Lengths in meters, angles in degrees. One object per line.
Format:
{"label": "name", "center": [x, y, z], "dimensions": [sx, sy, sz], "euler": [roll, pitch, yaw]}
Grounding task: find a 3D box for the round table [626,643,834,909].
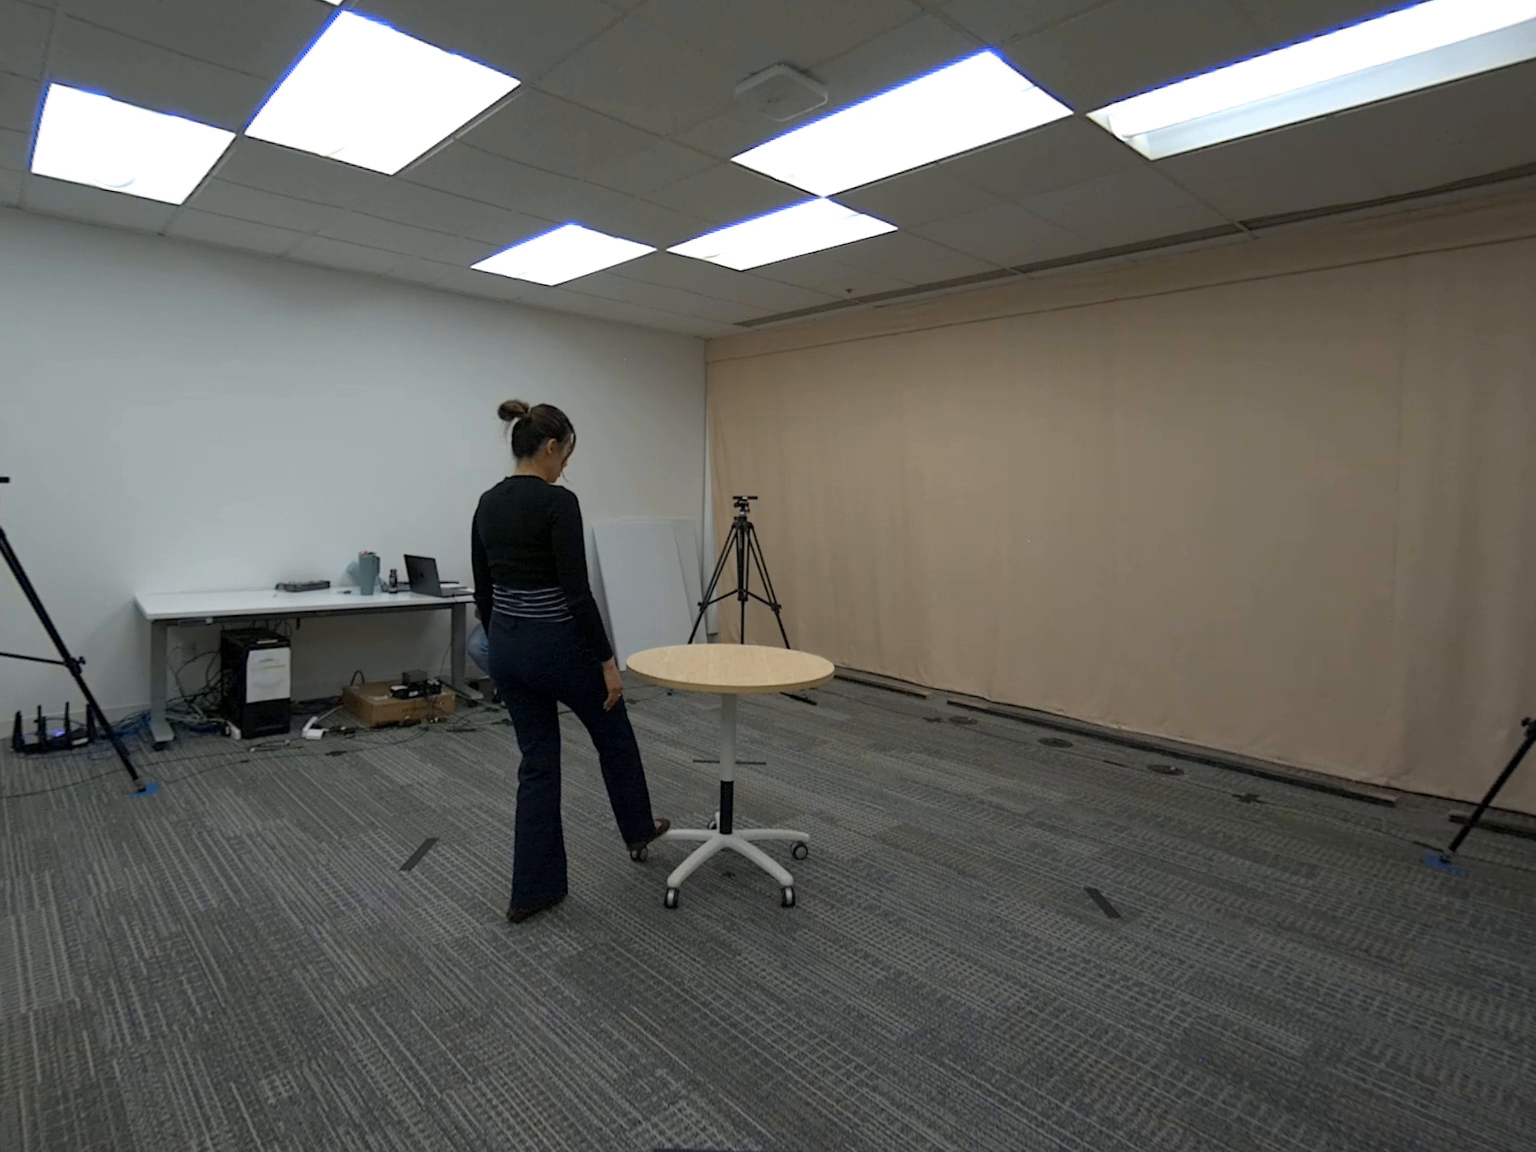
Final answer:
{"label": "round table", "center": [-0.157, 0.711, 3.127], "dimensions": [0.763, 0.792, 0.766], "euler": [2, 4, -1]}
